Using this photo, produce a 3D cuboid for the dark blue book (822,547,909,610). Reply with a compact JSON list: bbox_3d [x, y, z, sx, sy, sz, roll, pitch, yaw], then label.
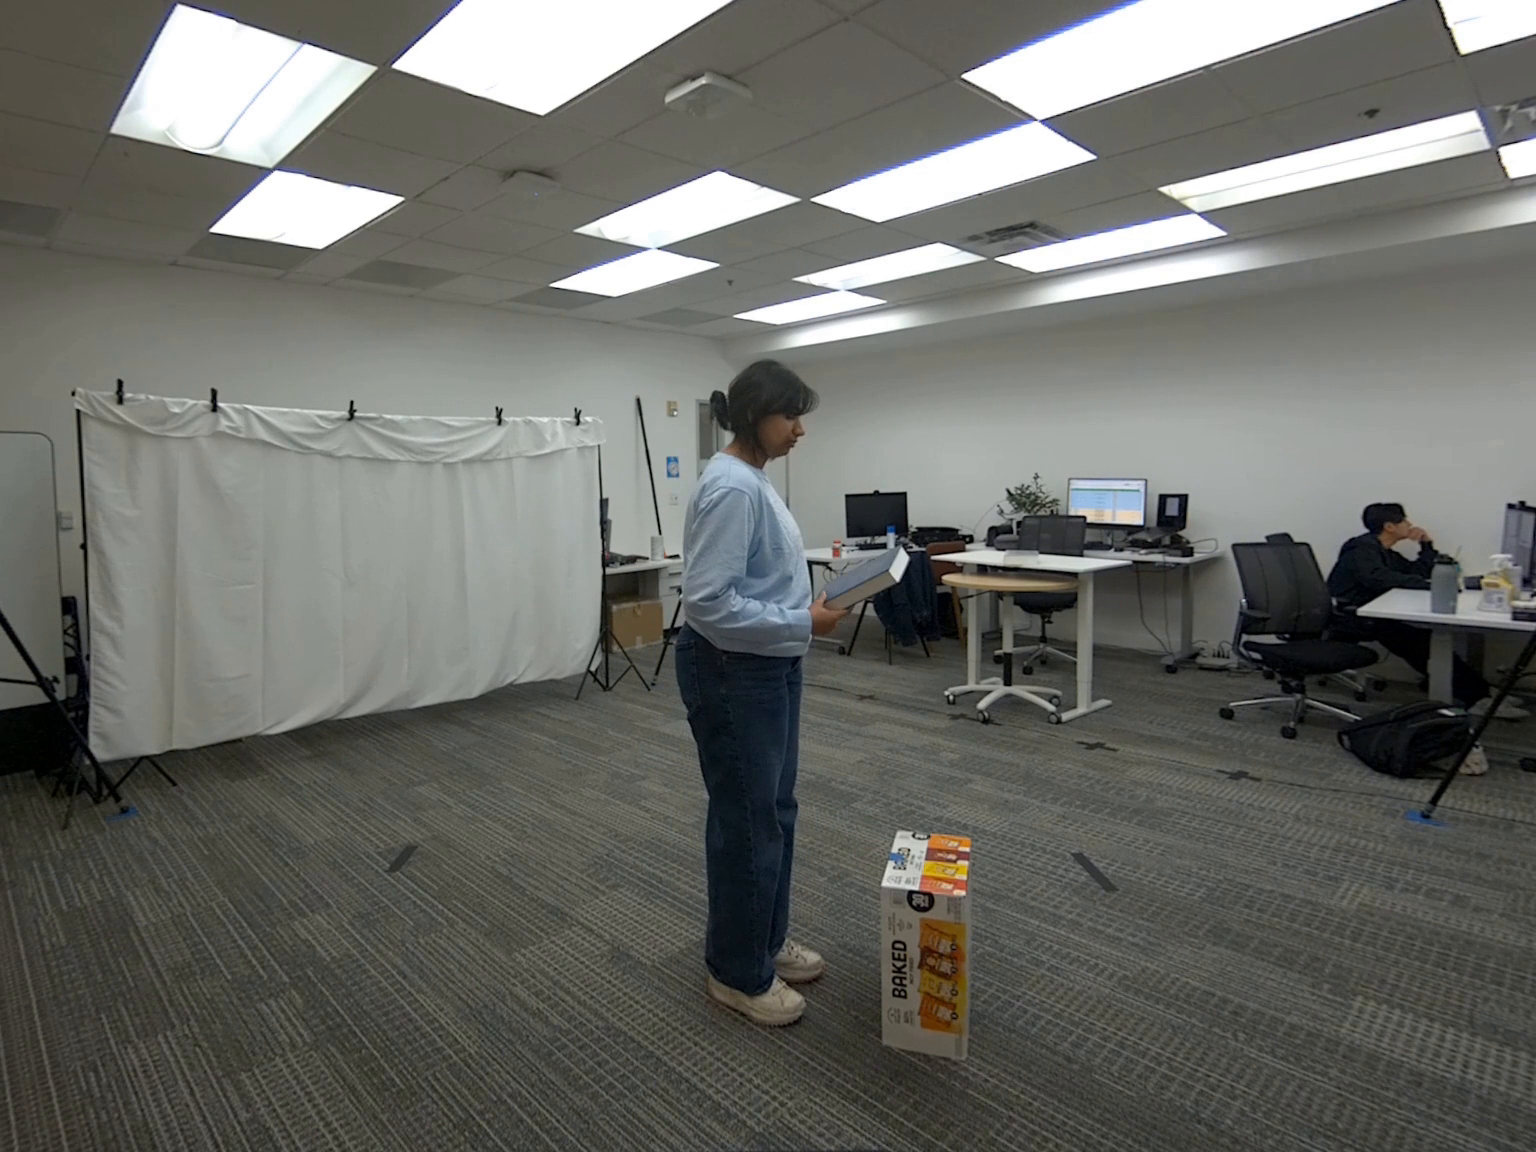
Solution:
[{"bbox_3d":[0.242,0.028,2.140,0.247,0.045,0.163,-29,10,28],"label":"dark blue book"}]
